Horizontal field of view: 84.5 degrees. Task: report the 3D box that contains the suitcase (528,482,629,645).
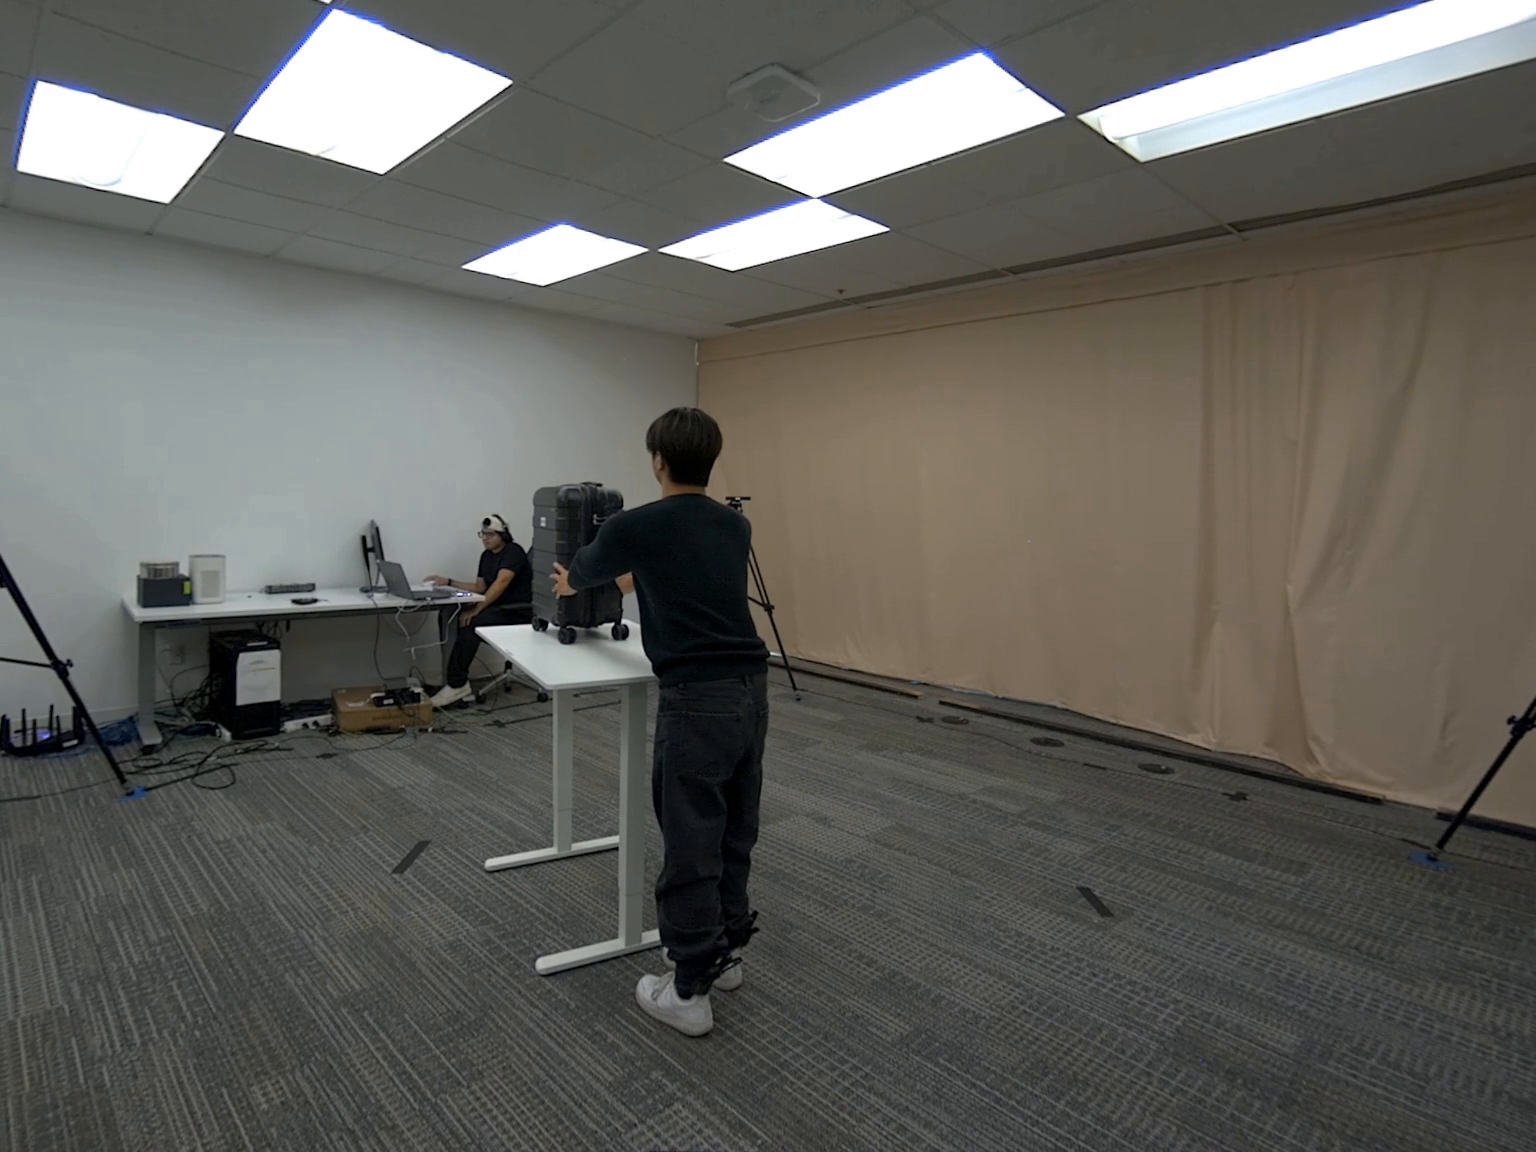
[{"bbox_3d":[-0.691,-0.063,3.045,0.243,0.547,0.384,-2,6,-31],"label":"suitcase"}]
